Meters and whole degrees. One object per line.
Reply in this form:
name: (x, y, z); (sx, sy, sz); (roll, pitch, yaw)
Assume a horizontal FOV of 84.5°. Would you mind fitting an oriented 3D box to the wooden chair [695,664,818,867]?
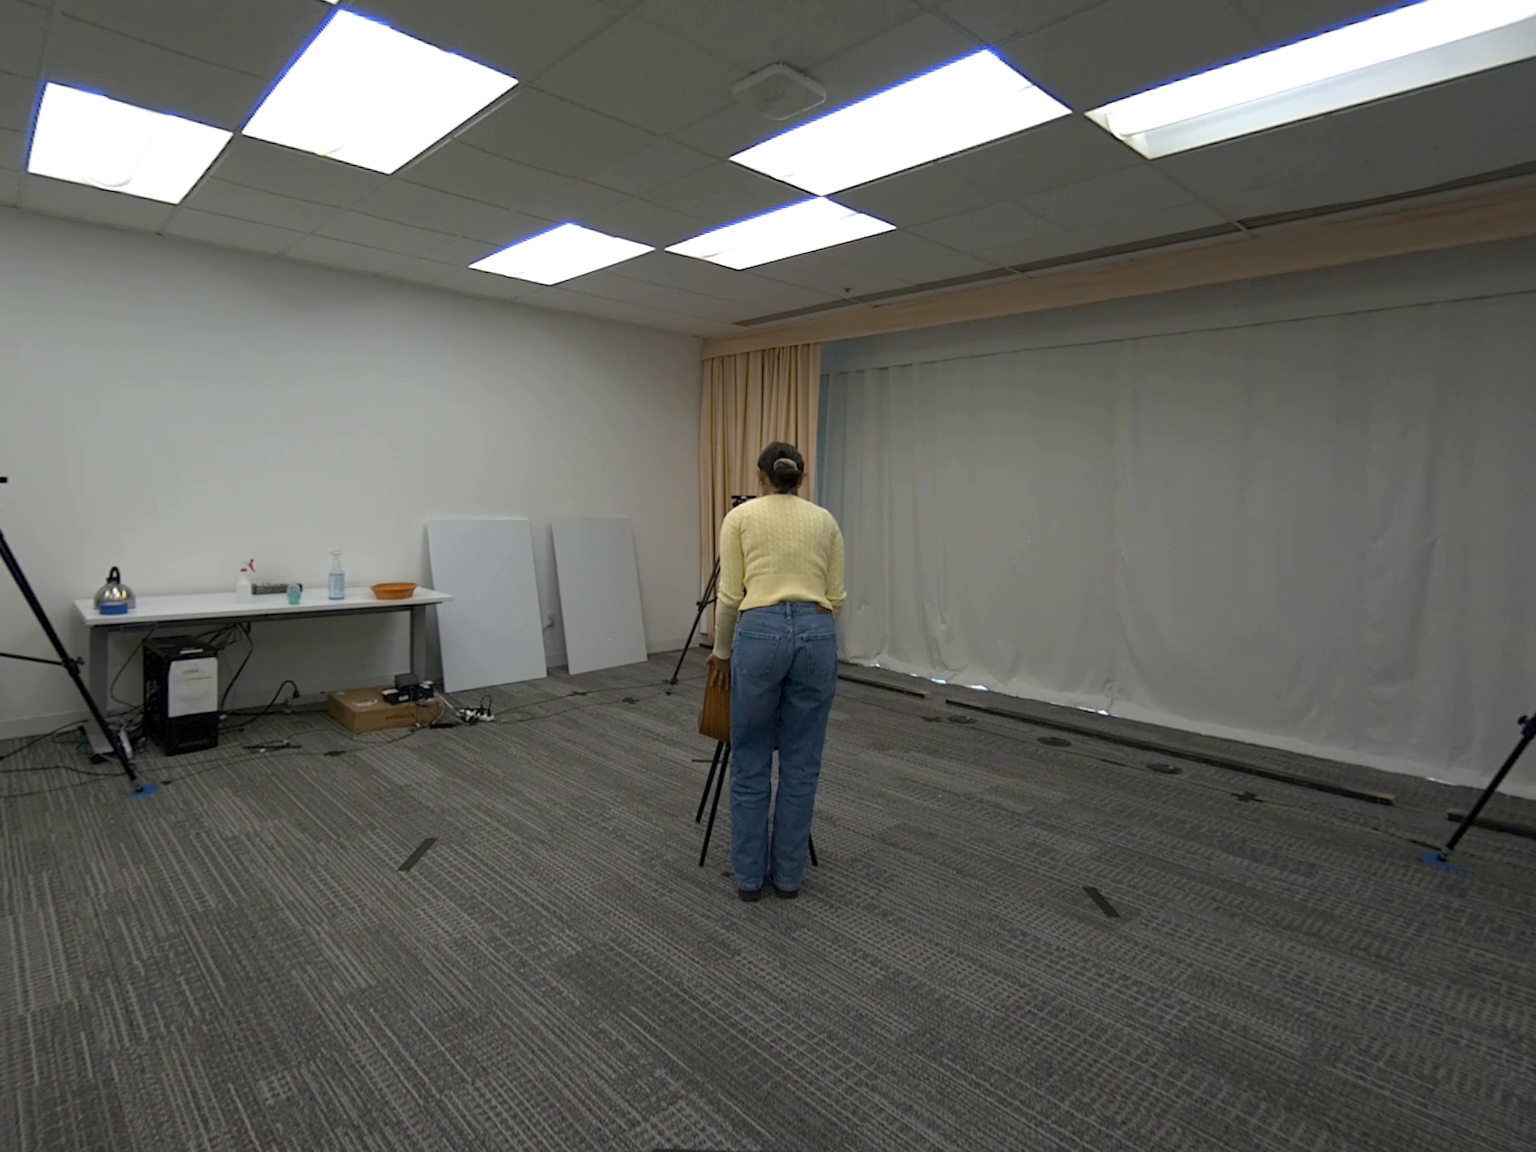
wooden chair: (-0.054, 0.652, 3.385); (0.476, 0.873, 0.528); (0, 7, -6)
